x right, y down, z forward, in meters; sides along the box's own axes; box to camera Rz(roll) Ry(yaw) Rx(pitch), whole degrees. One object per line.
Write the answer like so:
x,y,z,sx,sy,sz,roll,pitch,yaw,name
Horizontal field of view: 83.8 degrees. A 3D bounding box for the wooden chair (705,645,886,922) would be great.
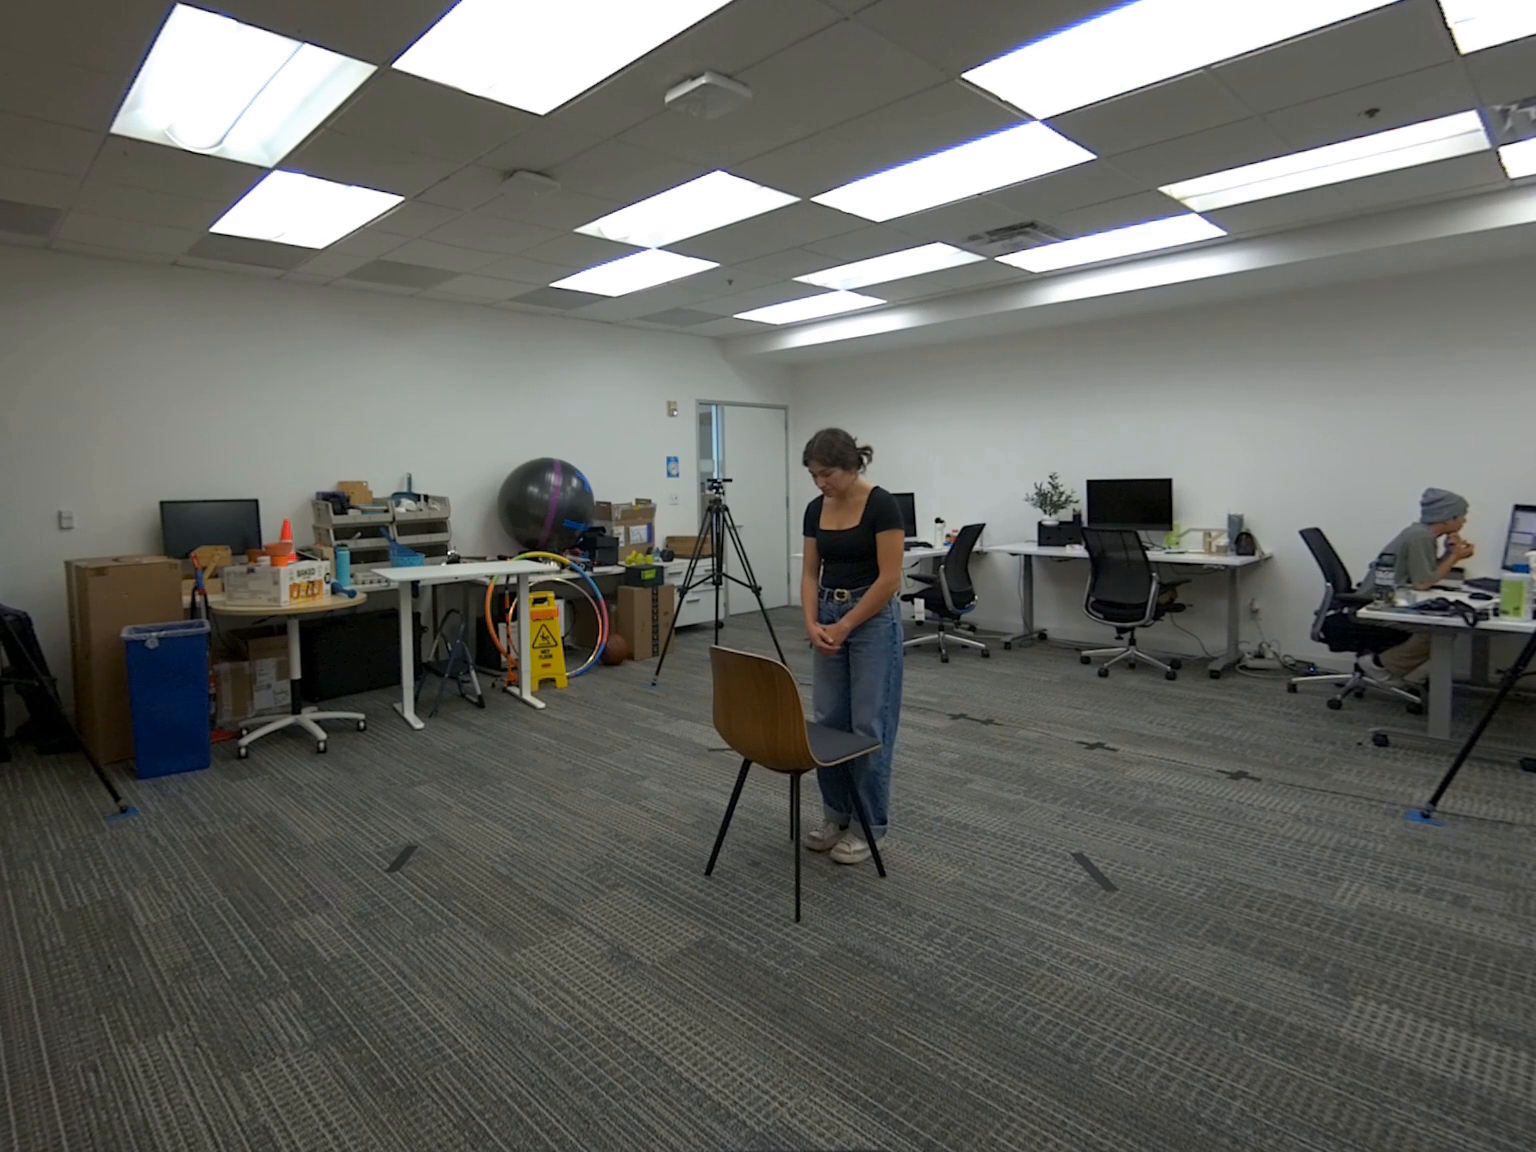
0.093,0.634,2.968,0.511,0.872,0.493,-10,9,-43,wooden chair
